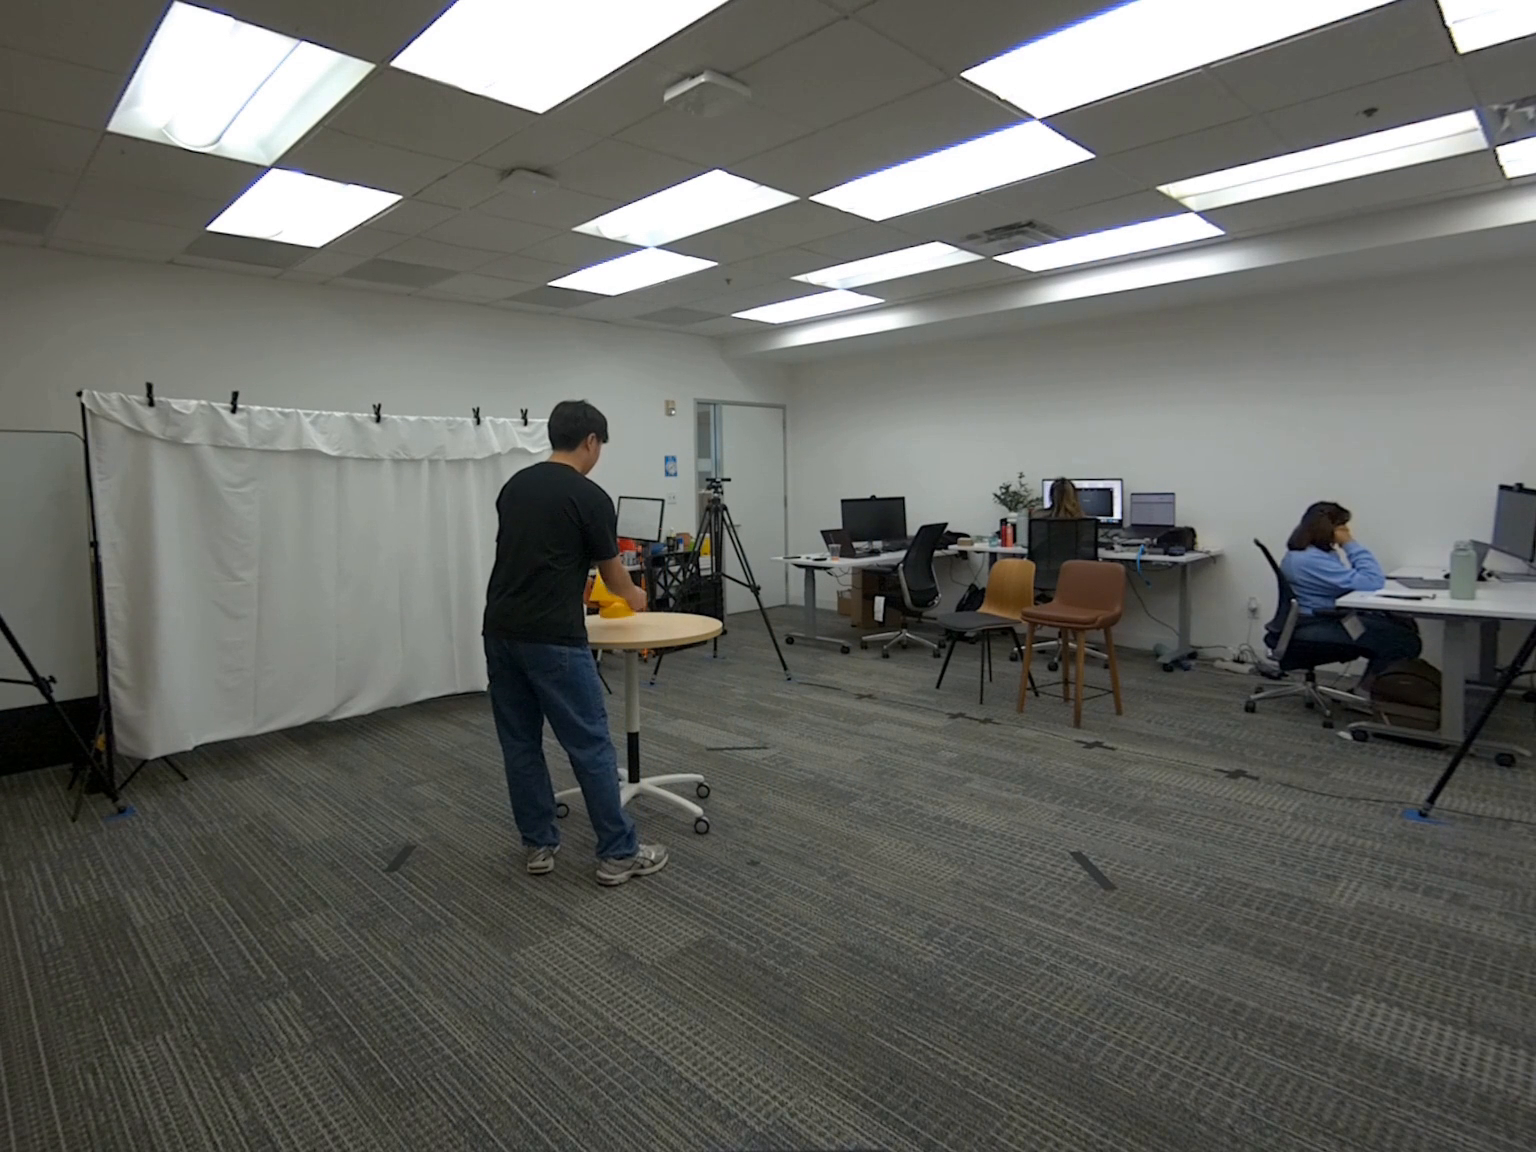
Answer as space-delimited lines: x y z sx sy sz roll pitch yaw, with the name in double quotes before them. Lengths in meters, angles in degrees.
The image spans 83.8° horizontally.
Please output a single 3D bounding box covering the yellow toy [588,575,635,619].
"yellow toy" -0.616 0.040 3.496 0.194 0.228 0.206 -3 10 4
